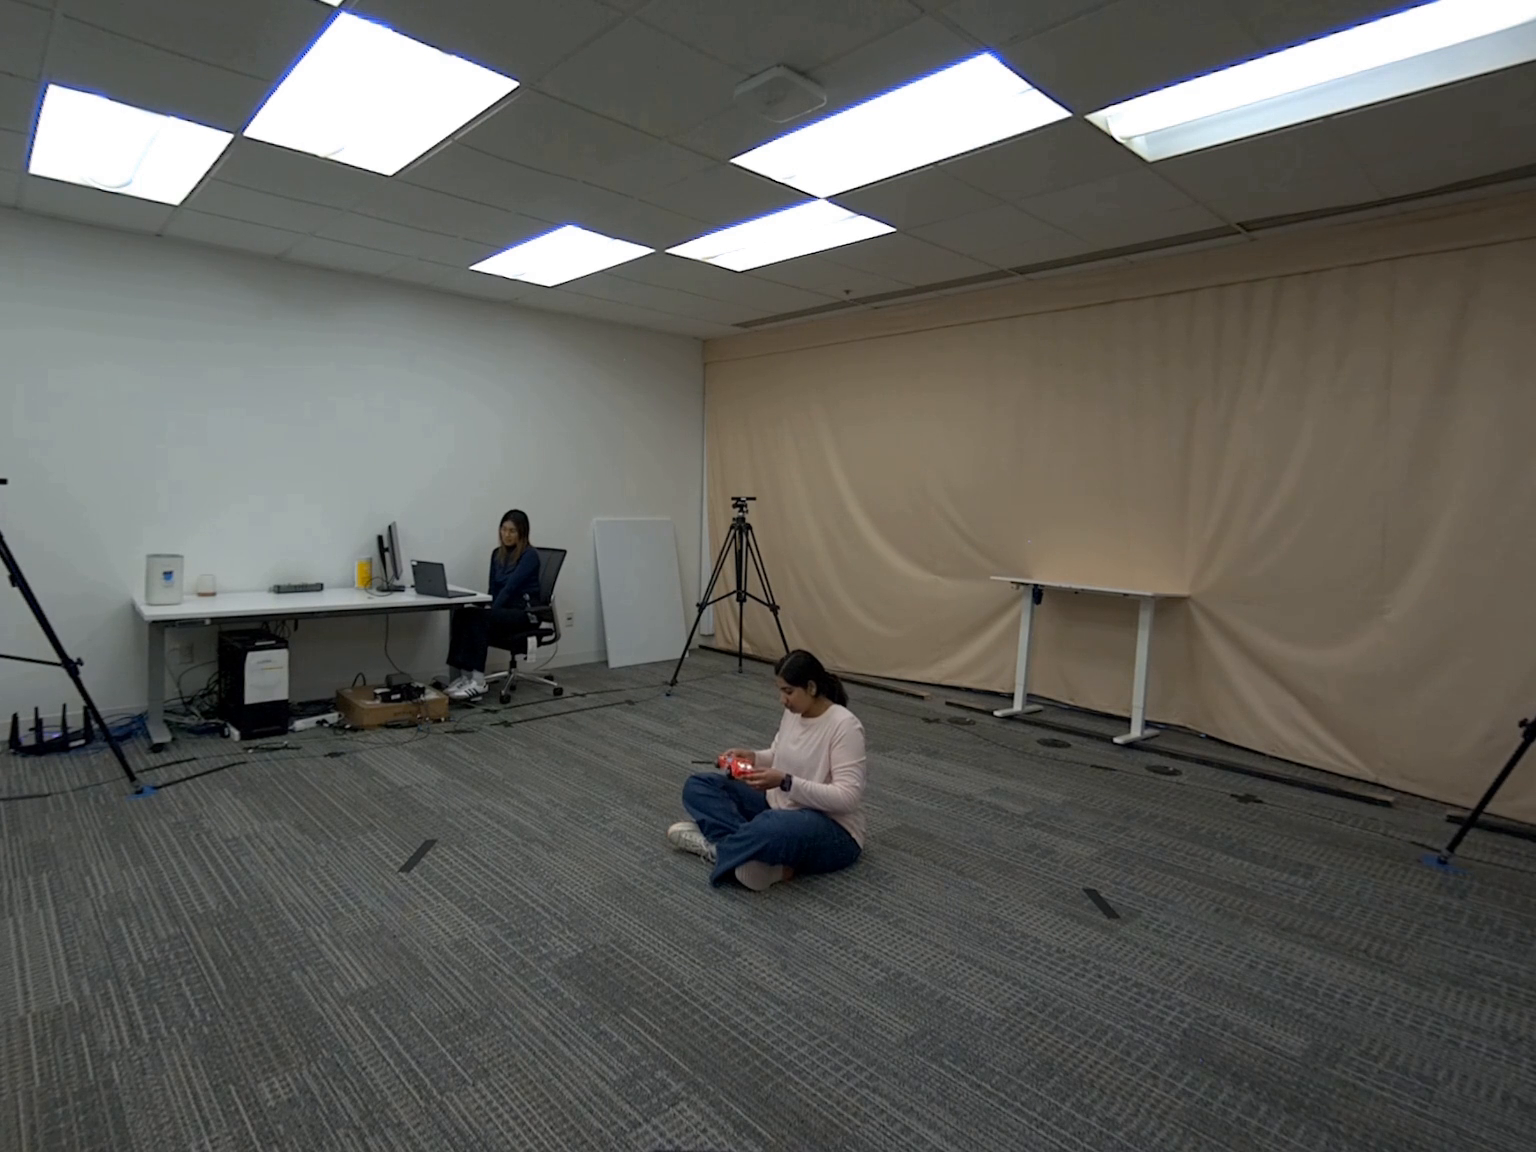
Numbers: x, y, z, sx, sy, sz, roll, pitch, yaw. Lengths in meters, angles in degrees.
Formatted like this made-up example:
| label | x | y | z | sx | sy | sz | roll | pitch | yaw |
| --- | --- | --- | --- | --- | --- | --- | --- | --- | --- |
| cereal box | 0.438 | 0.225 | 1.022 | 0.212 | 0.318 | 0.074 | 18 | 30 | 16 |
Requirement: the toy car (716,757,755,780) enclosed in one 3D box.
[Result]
| label | x | y | z | sx | sy | sz | roll | pitch | yaw |
| --- | --- | --- | --- | --- | --- | --- | --- | --- | --- |
| toy car | -0.125 | 0.747 | 3.256 | 0.128 | 0.084 | 0.257 | 17 | -13 | -19 |
